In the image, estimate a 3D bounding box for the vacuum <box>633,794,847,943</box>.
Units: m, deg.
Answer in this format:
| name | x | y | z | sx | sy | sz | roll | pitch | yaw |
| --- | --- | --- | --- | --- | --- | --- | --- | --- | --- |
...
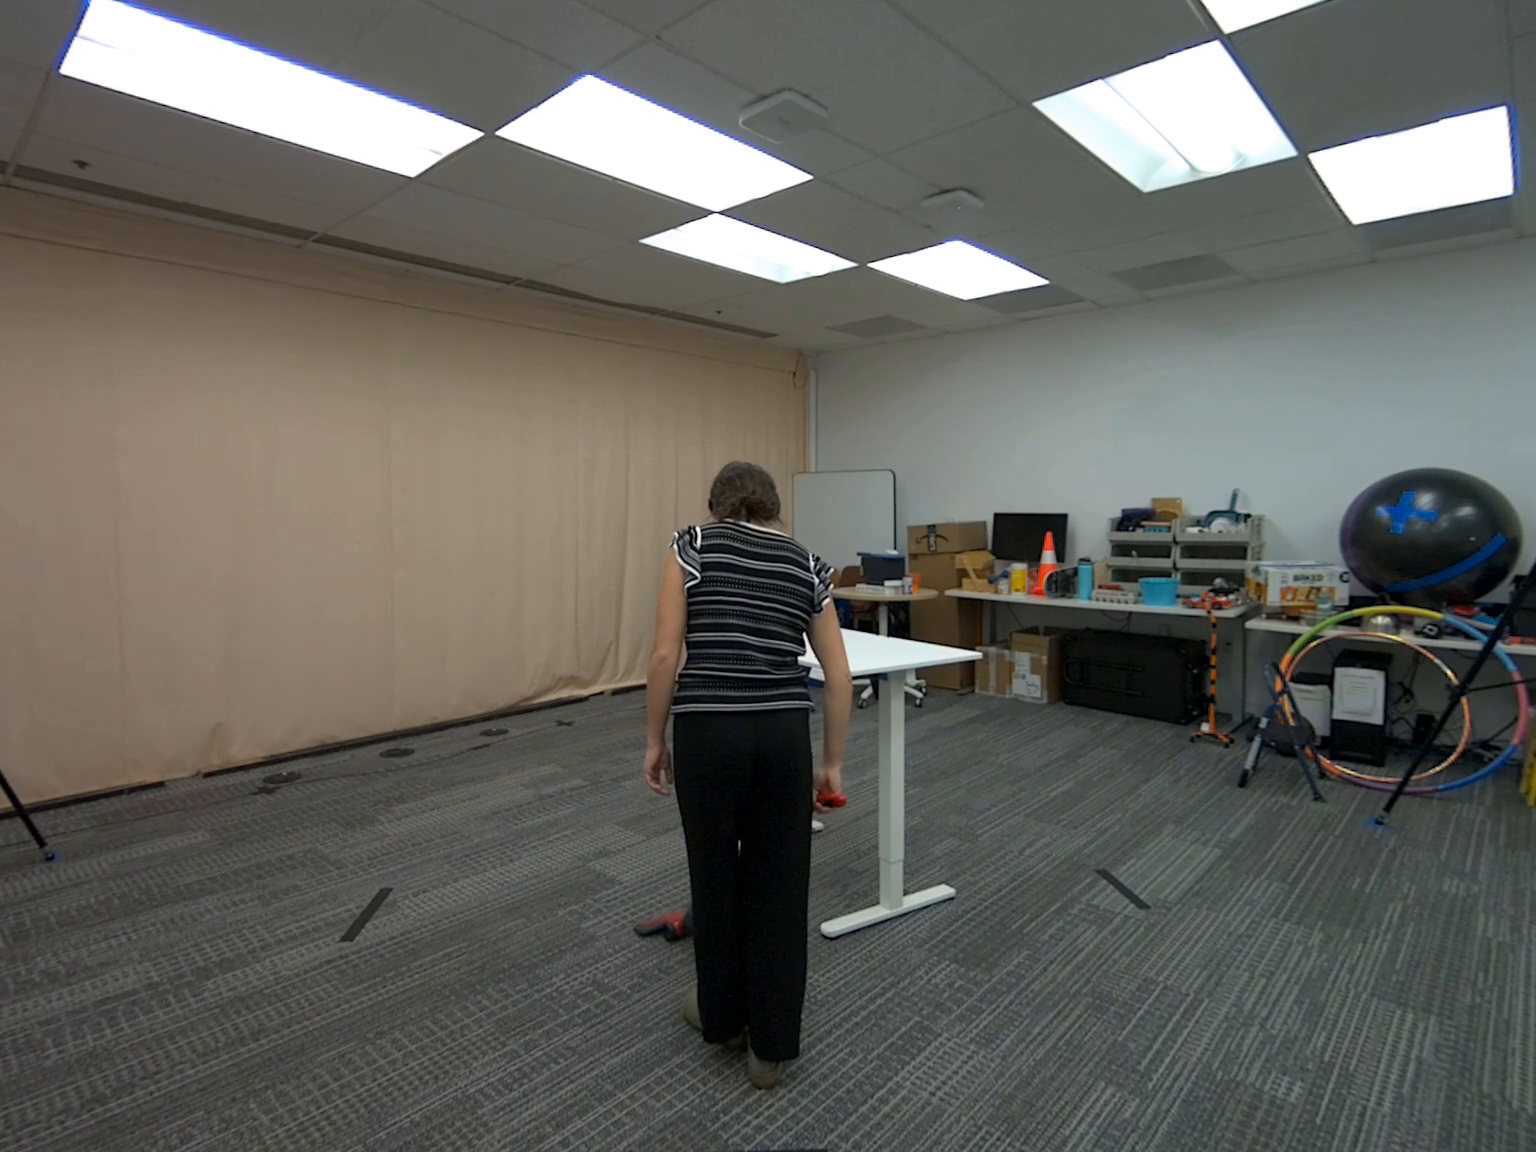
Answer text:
| name | x | y | z | sx | sy | sz | roll | pitch | yaw |
| --- | --- | --- | --- | --- | --- | --- | --- | --- | --- |
| vacuum | -0.095 | 0.884 | 2.426 | 0.246 | 0.147 | 1.054 | -6 | -27 | -32 |
